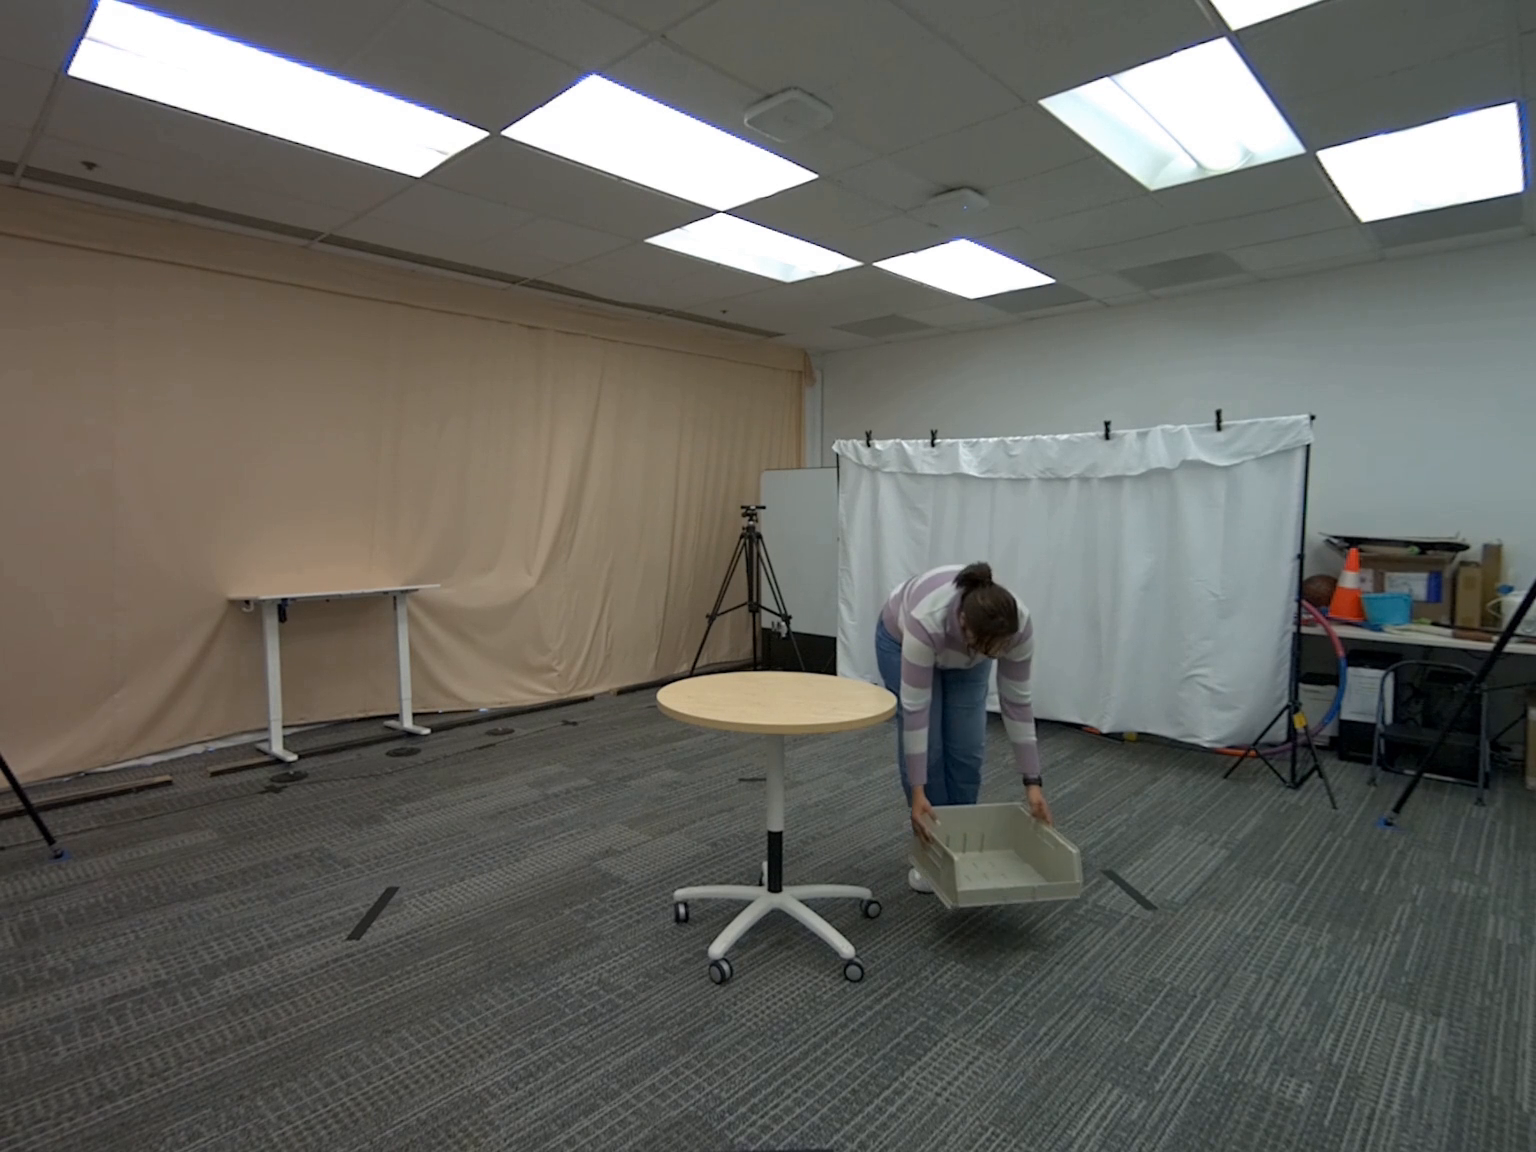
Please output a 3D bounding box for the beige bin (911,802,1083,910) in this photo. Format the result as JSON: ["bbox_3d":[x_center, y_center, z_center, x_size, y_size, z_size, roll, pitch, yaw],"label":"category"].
[{"bbox_3d":[0.733,0.908,2.737,0.417,0.188,0.384,-1,8,-12],"label":"beige bin"}]
